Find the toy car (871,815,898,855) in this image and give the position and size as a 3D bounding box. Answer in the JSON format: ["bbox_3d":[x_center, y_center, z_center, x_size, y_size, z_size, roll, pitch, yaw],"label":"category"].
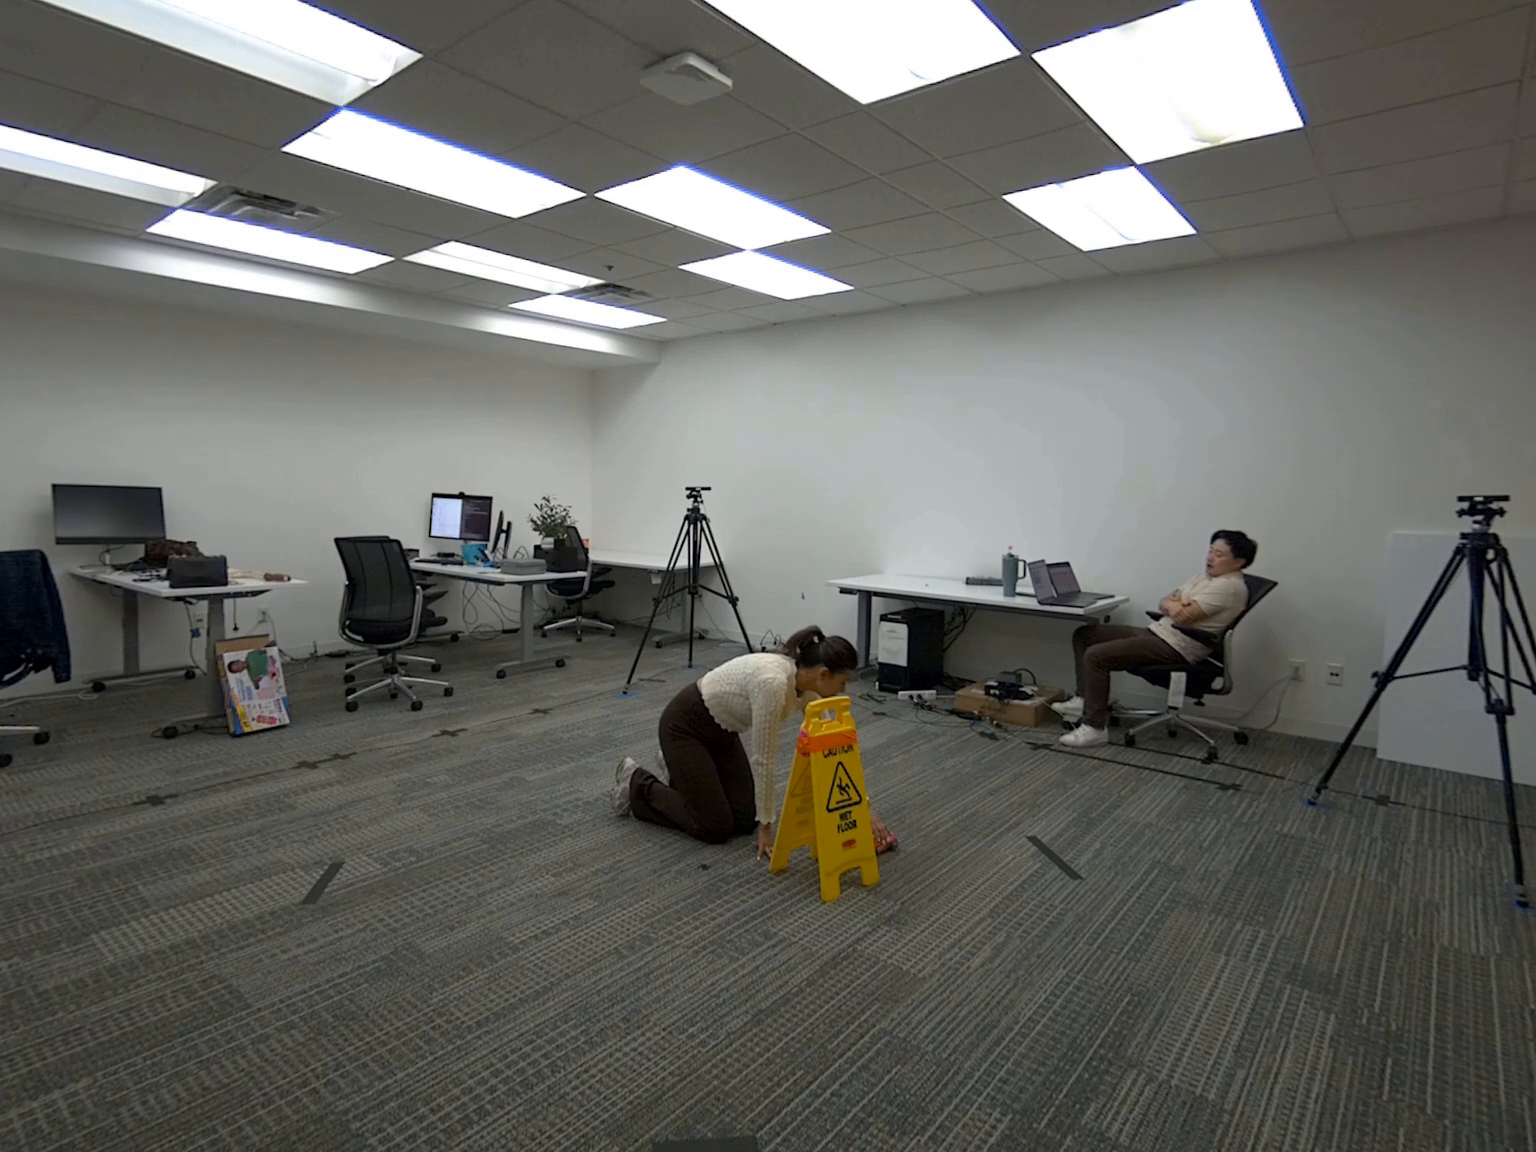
[{"bbox_3d":[0.384,1.031,3.267,0.135,0.083,0.245,5,-4,44],"label":"toy car"}]
